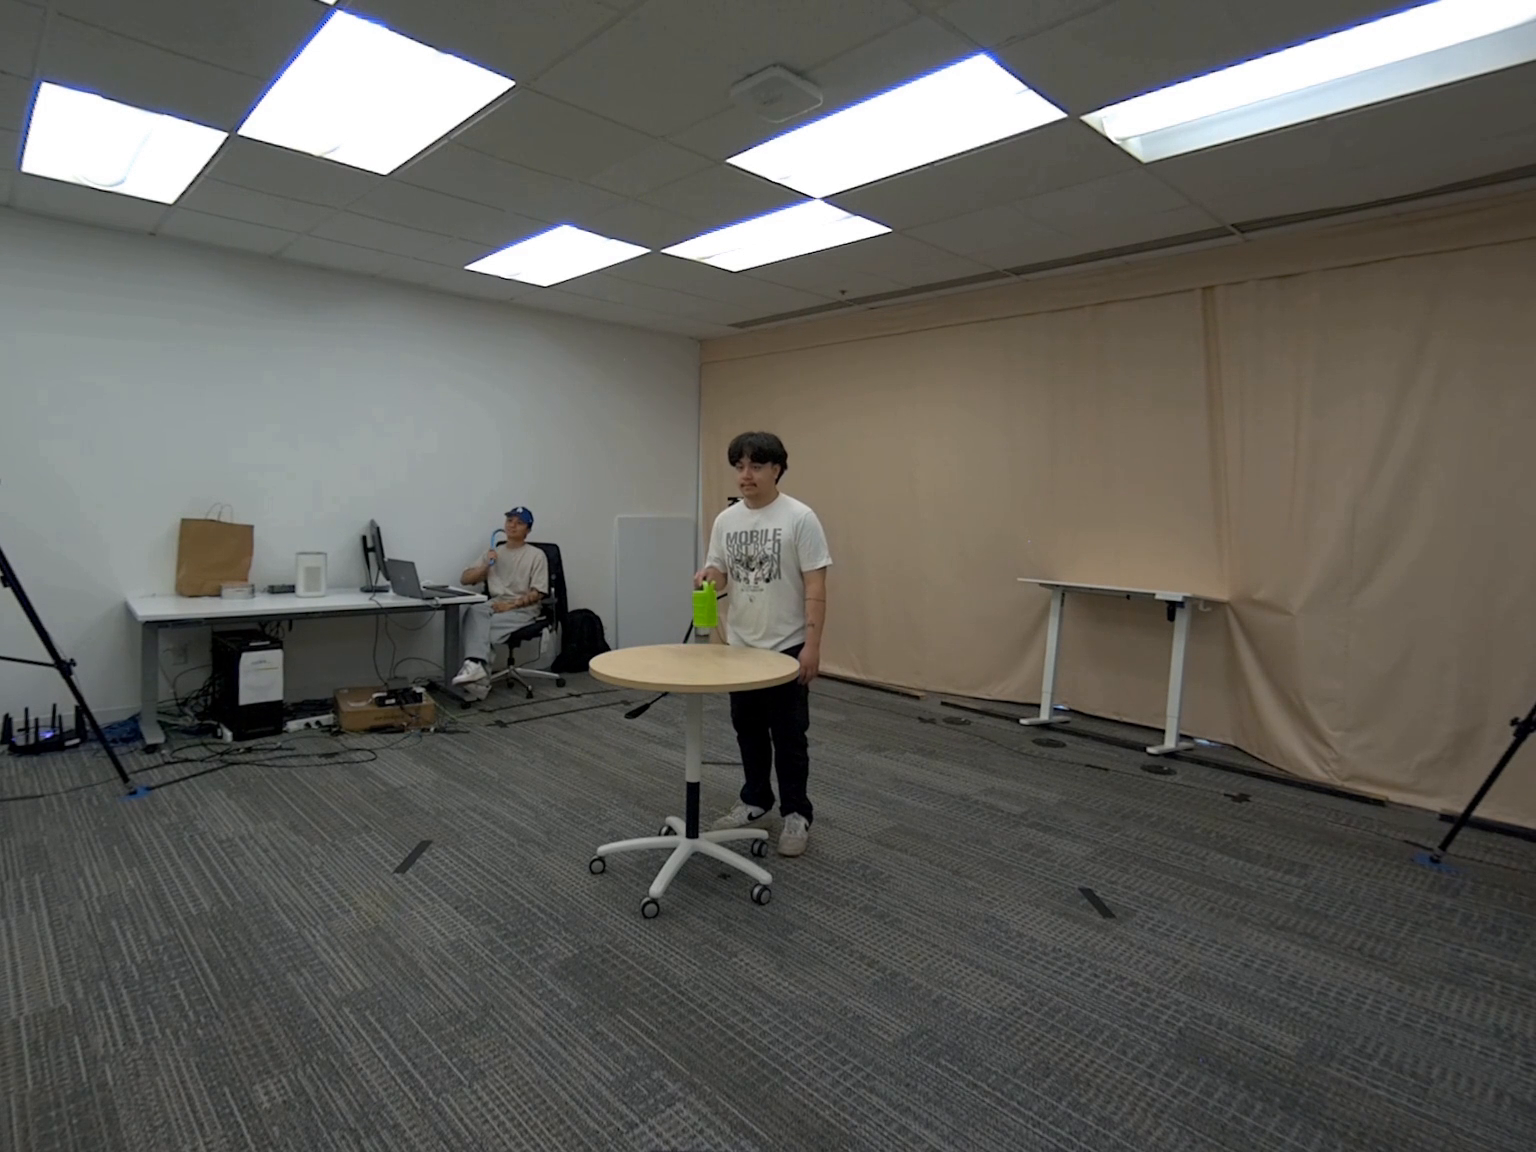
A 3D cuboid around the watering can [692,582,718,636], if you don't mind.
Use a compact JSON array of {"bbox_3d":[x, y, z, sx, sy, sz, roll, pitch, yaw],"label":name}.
[{"bbox_3d":[-0.259,0.110,3.203,0.098,0.177,0.277,-4,-1,3],"label":"watering can"}]
